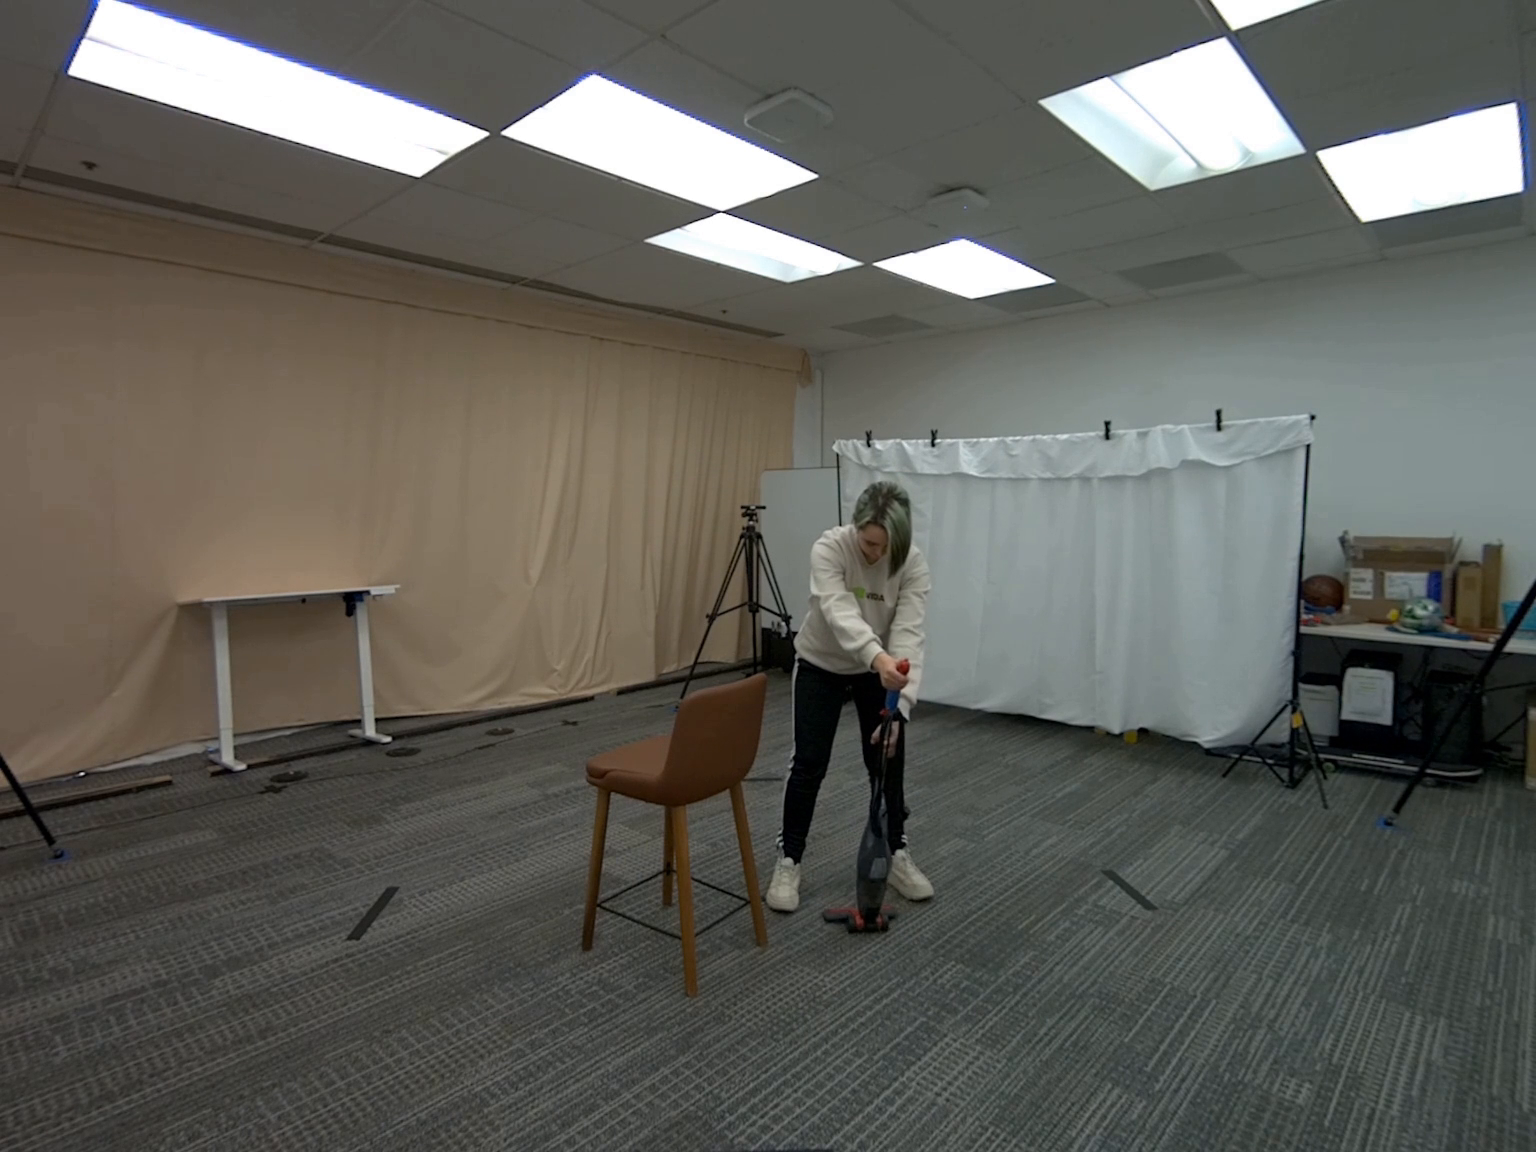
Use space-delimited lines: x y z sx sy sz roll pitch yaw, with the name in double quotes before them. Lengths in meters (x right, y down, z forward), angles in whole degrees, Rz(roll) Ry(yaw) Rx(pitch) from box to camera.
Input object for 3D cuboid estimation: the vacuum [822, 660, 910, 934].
"vacuum" 0.353 0.703 2.562 0.249 1.034 0.148 -4 31 -14
